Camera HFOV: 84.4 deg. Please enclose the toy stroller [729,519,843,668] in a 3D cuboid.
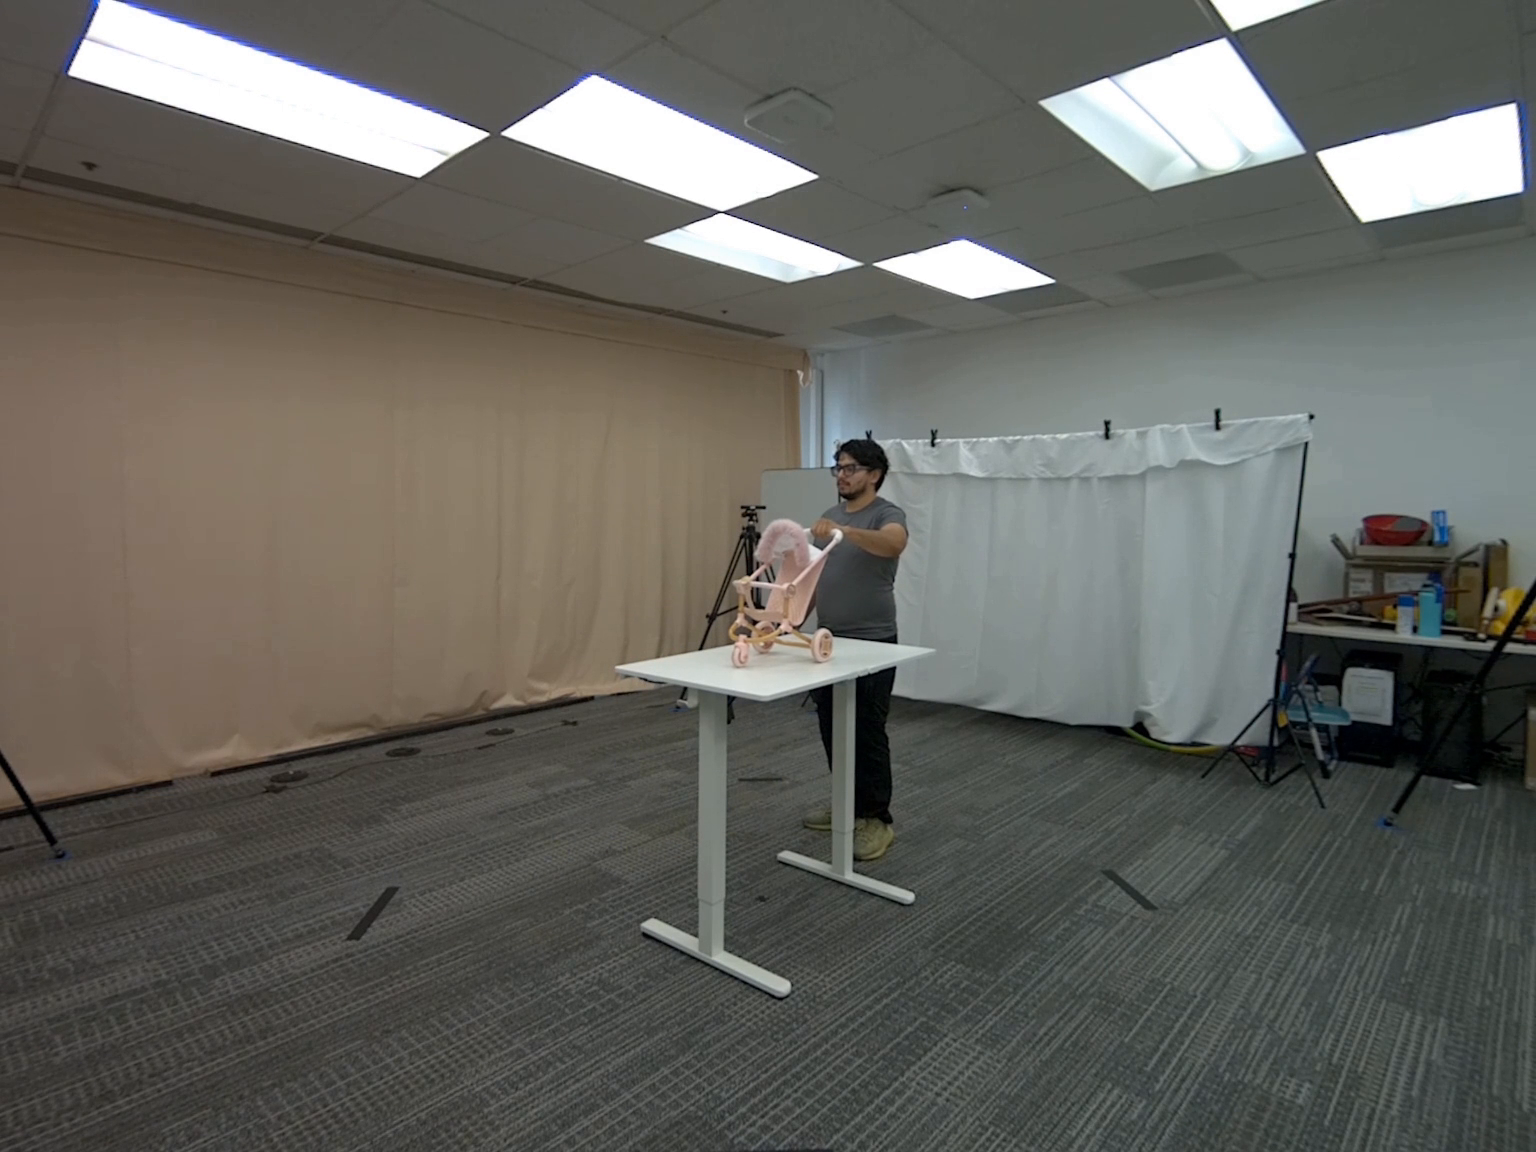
[{"bbox_3d":[0.044,0.054,2.765,0.329,0.537,0.291,18,-11,-43],"label":"toy stroller"}]
